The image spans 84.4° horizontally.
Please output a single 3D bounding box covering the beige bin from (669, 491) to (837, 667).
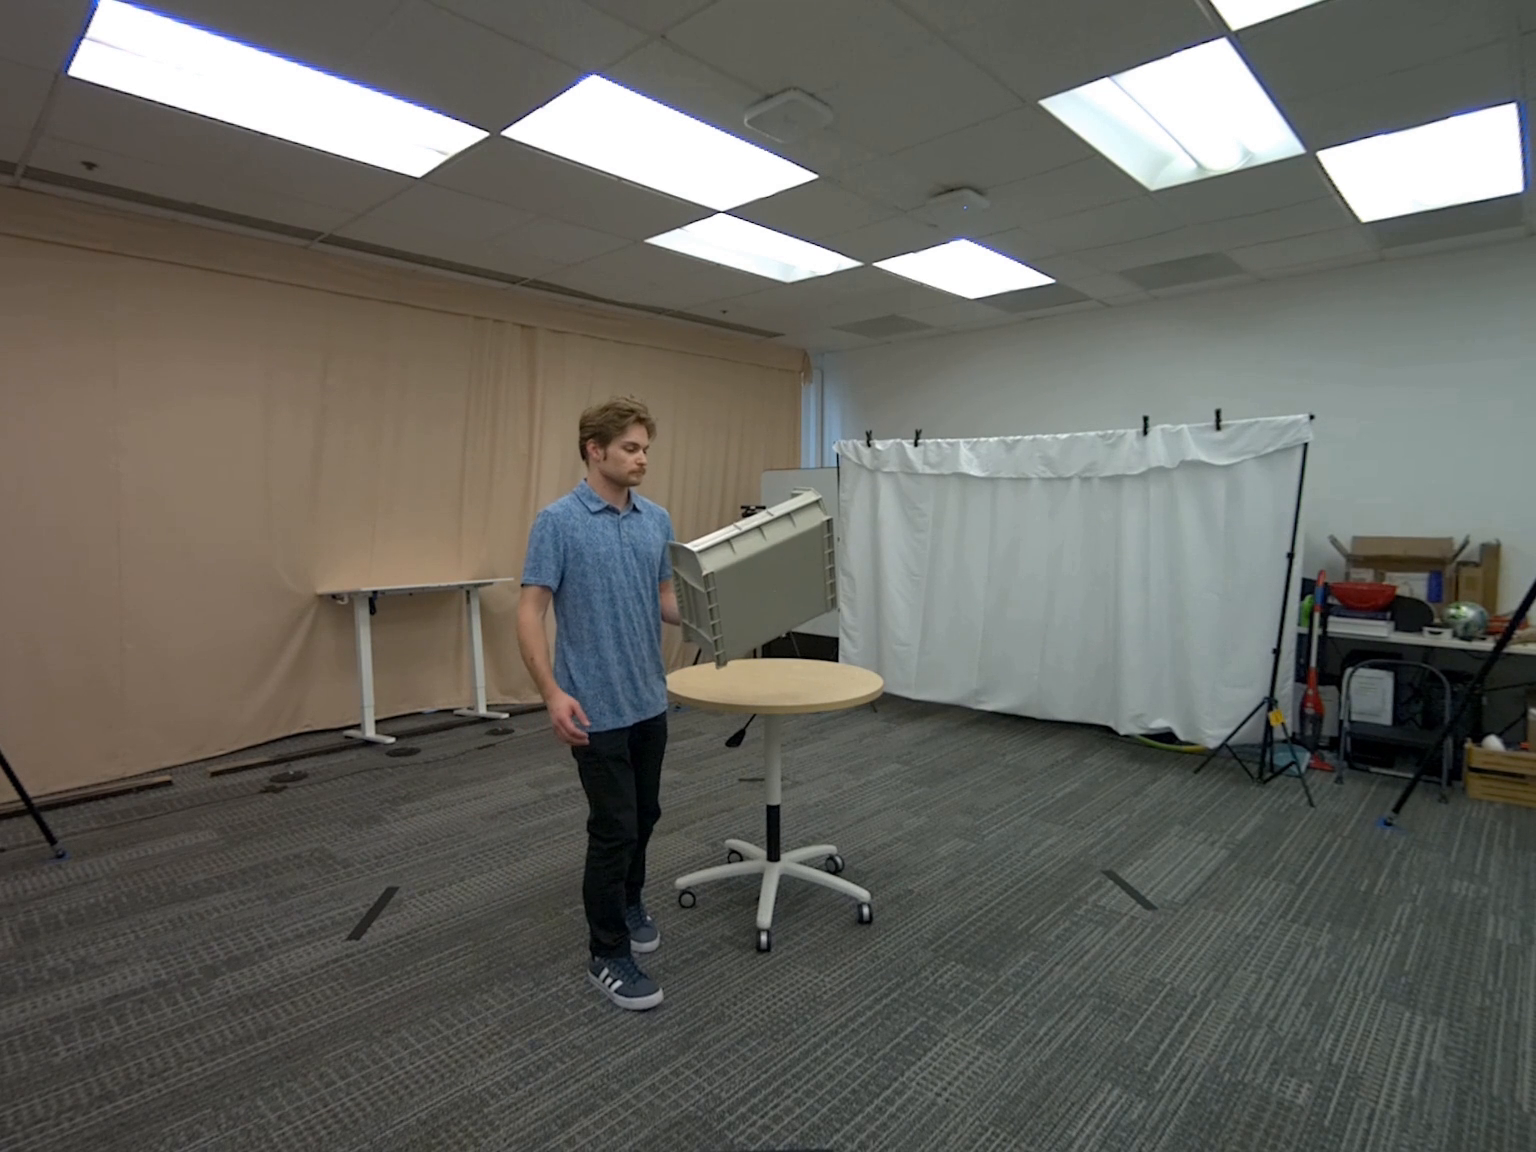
[{"bbox_3d":[-0.028,-0.003,2.310,0.416,0.369,0.196,-25,36,-24],"label":"beige bin"}]
